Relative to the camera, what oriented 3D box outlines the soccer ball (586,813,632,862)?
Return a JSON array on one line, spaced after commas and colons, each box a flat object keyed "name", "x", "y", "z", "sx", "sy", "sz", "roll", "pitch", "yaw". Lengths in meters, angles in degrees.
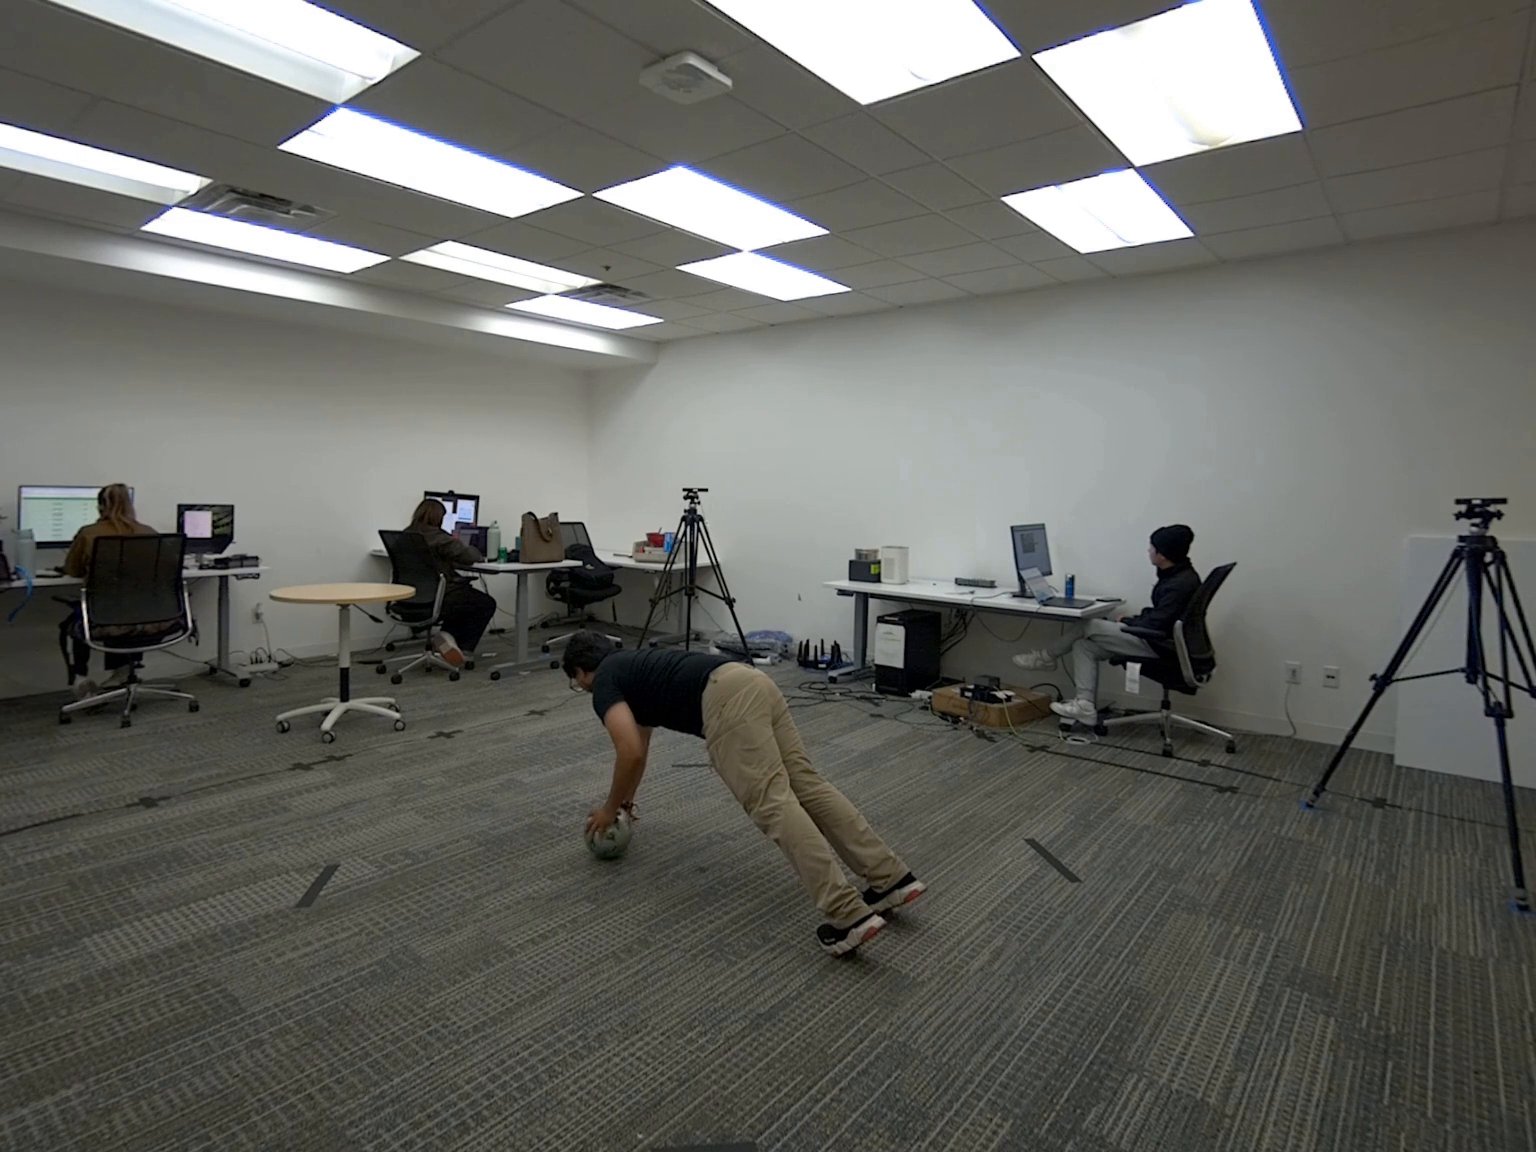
[{"name": "soccer ball", "x": -0.613, "y": 0.961, "z": 3.202, "sx": 0.187, "sy": 0.187, "sz": 0.188, "roll": 1, "pitch": 4, "yaw": -2}]
